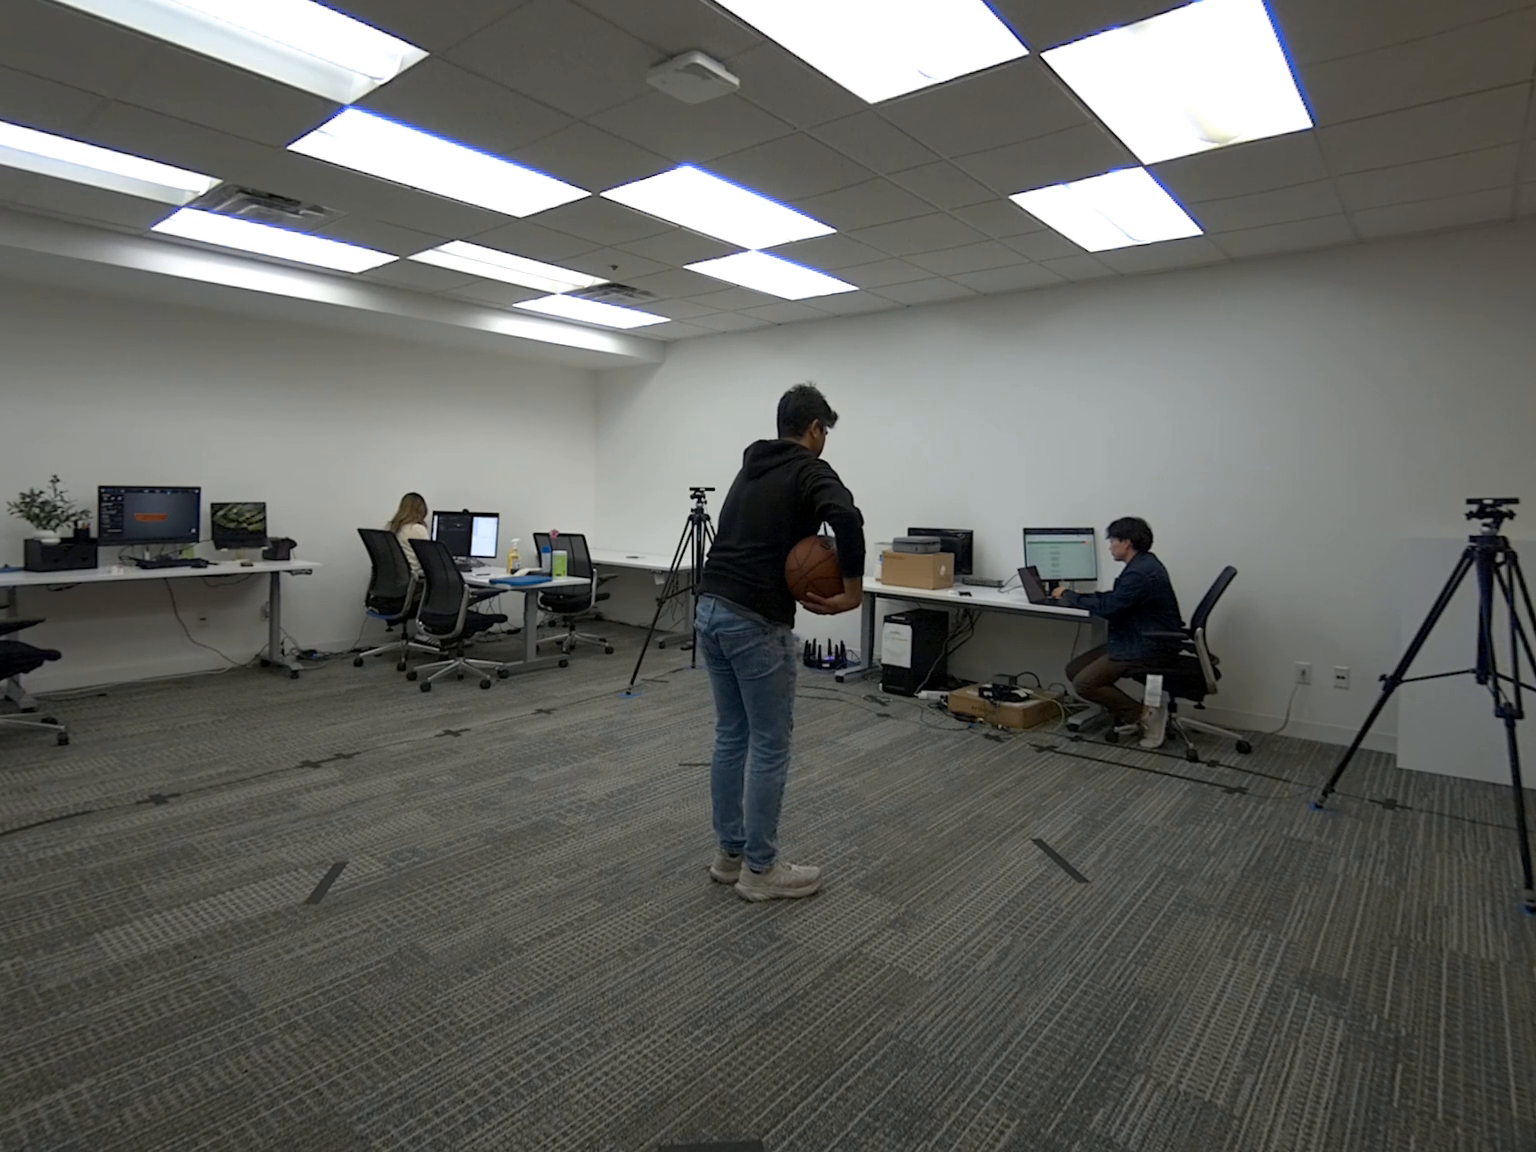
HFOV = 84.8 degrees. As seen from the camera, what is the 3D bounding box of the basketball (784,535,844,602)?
[{"bbox_3d":[0.182,-0.001,2.767,0.235,0.235,0.237,1,4,-2],"label":"basketball"}]
